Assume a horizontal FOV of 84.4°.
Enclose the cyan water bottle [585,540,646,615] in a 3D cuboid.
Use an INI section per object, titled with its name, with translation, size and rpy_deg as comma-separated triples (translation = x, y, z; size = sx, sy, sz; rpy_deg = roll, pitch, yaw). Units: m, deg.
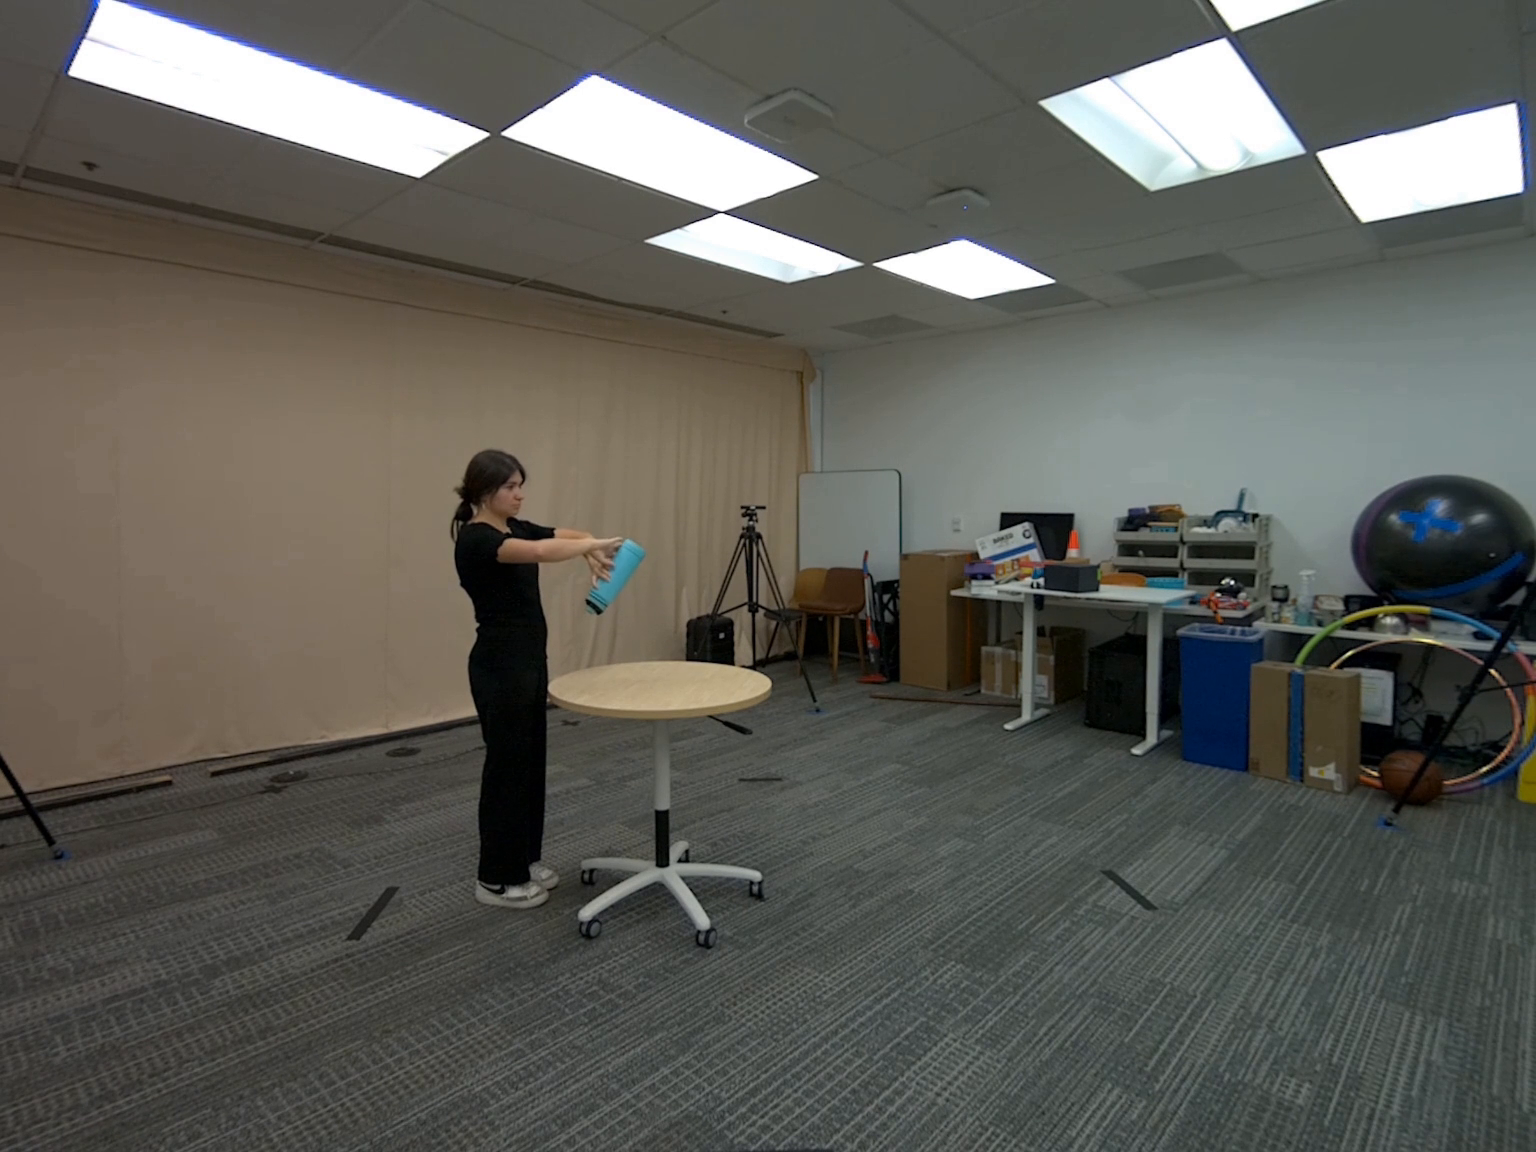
[cyan water bottle]
translation = -0.543, 0.012, 2.927
size = 0.093, 0.283, 0.092
rpy_deg = 31, -7, 2
